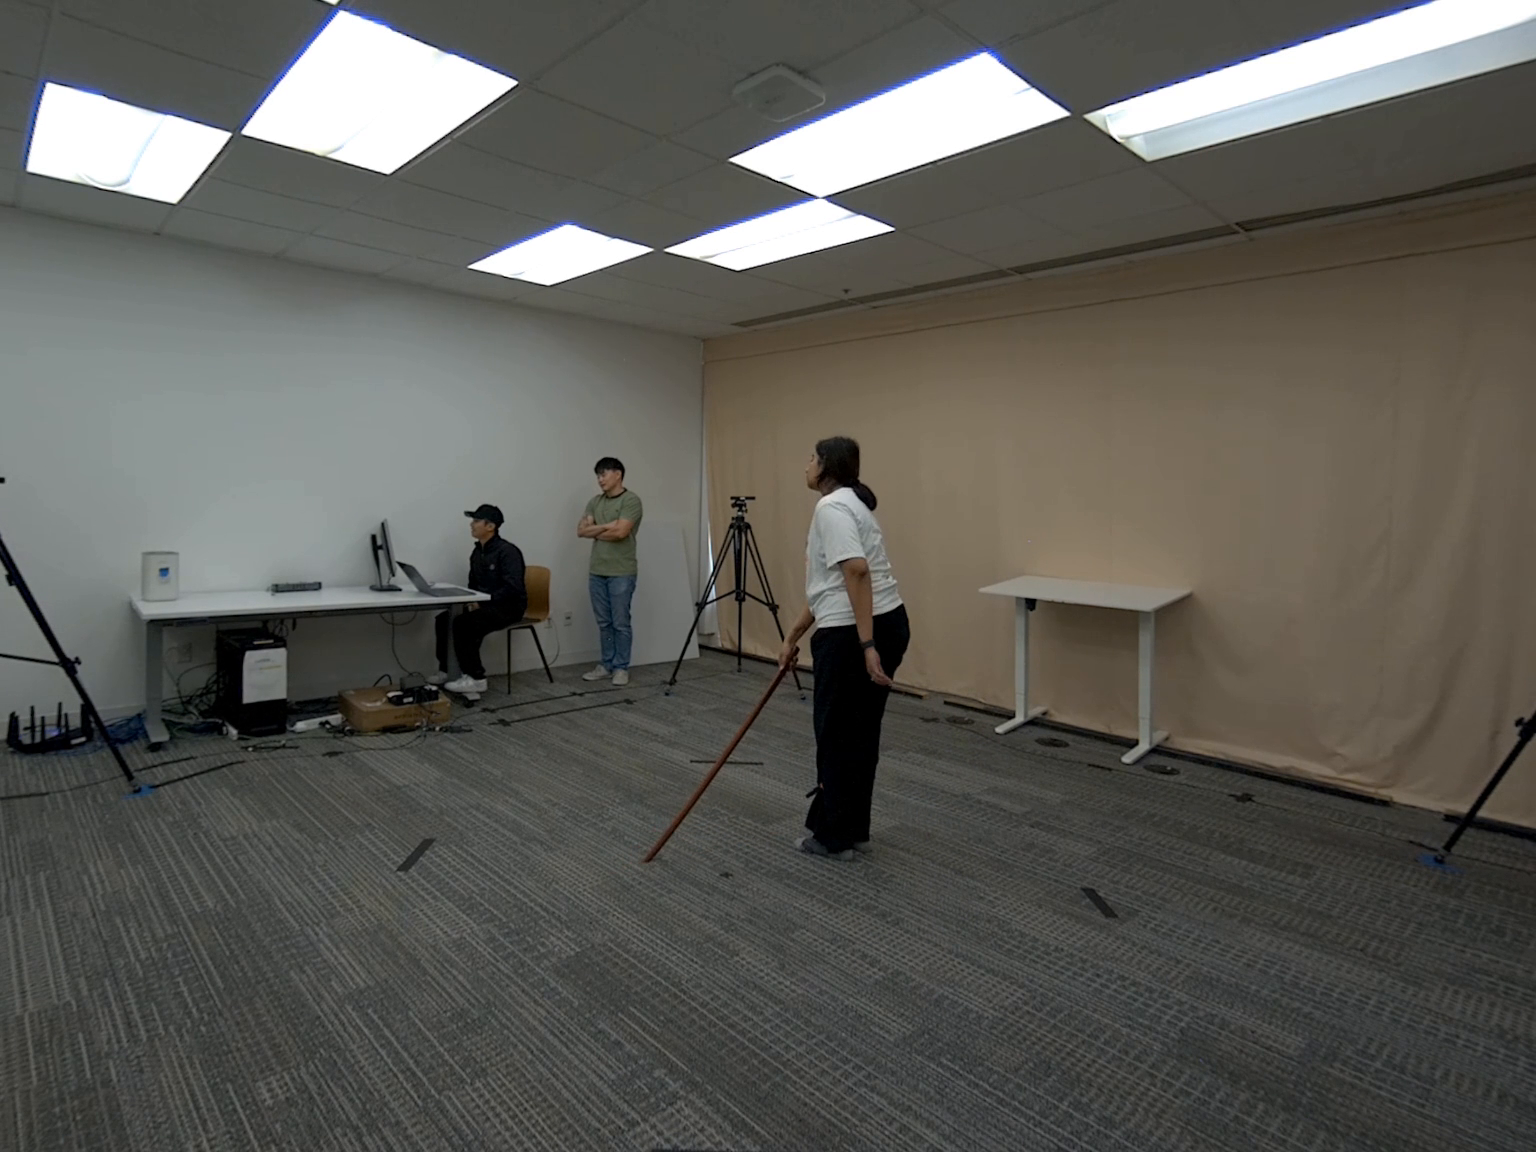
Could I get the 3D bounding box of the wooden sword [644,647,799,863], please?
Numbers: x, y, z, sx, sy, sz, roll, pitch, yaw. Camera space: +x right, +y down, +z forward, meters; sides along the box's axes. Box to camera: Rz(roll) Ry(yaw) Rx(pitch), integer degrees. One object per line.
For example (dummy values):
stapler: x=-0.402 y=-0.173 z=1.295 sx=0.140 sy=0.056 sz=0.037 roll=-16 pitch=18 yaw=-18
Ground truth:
wooden sword: x=-0.172 y=0.698 z=3.355 sx=0.053 sy=1.027 sz=0.023 roll=25 pitch=-21 yaw=31
